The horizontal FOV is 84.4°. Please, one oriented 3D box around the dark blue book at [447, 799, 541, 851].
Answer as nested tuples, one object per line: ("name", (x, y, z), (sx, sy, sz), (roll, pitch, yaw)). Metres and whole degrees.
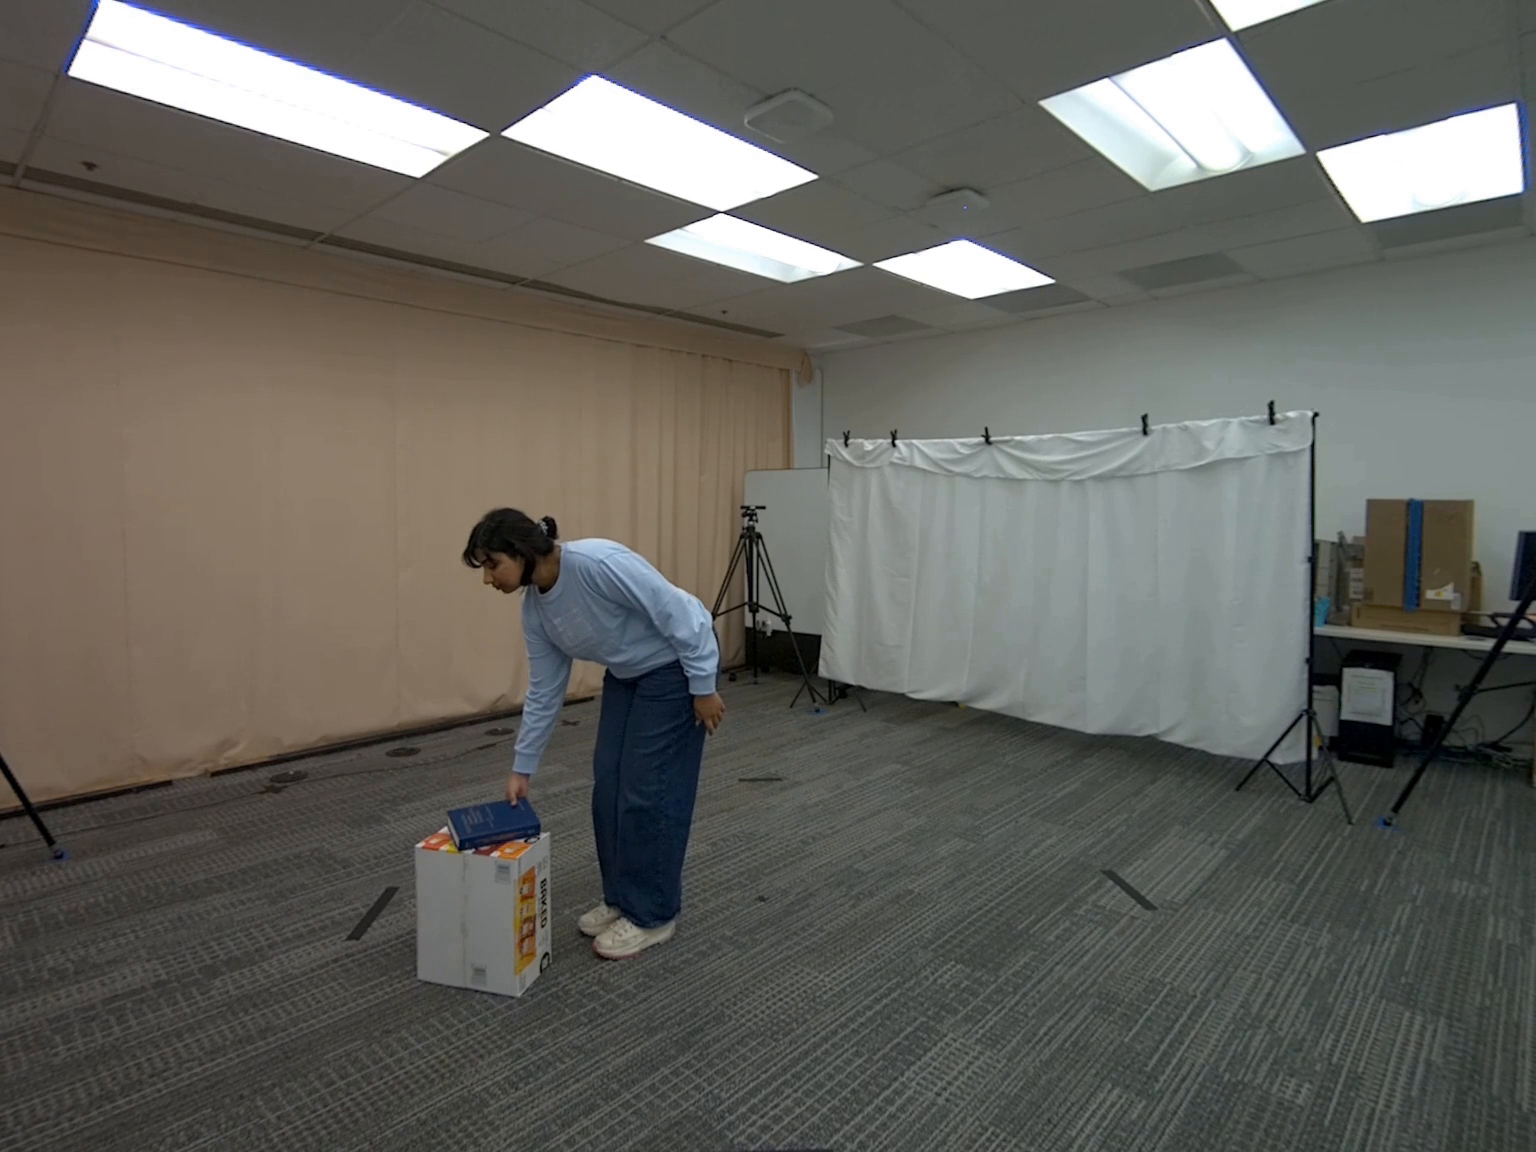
("dark blue book", (-0.828, 0.744, 2.534), (0.238, 0.045, 0.169), (-3, 14, -32))
